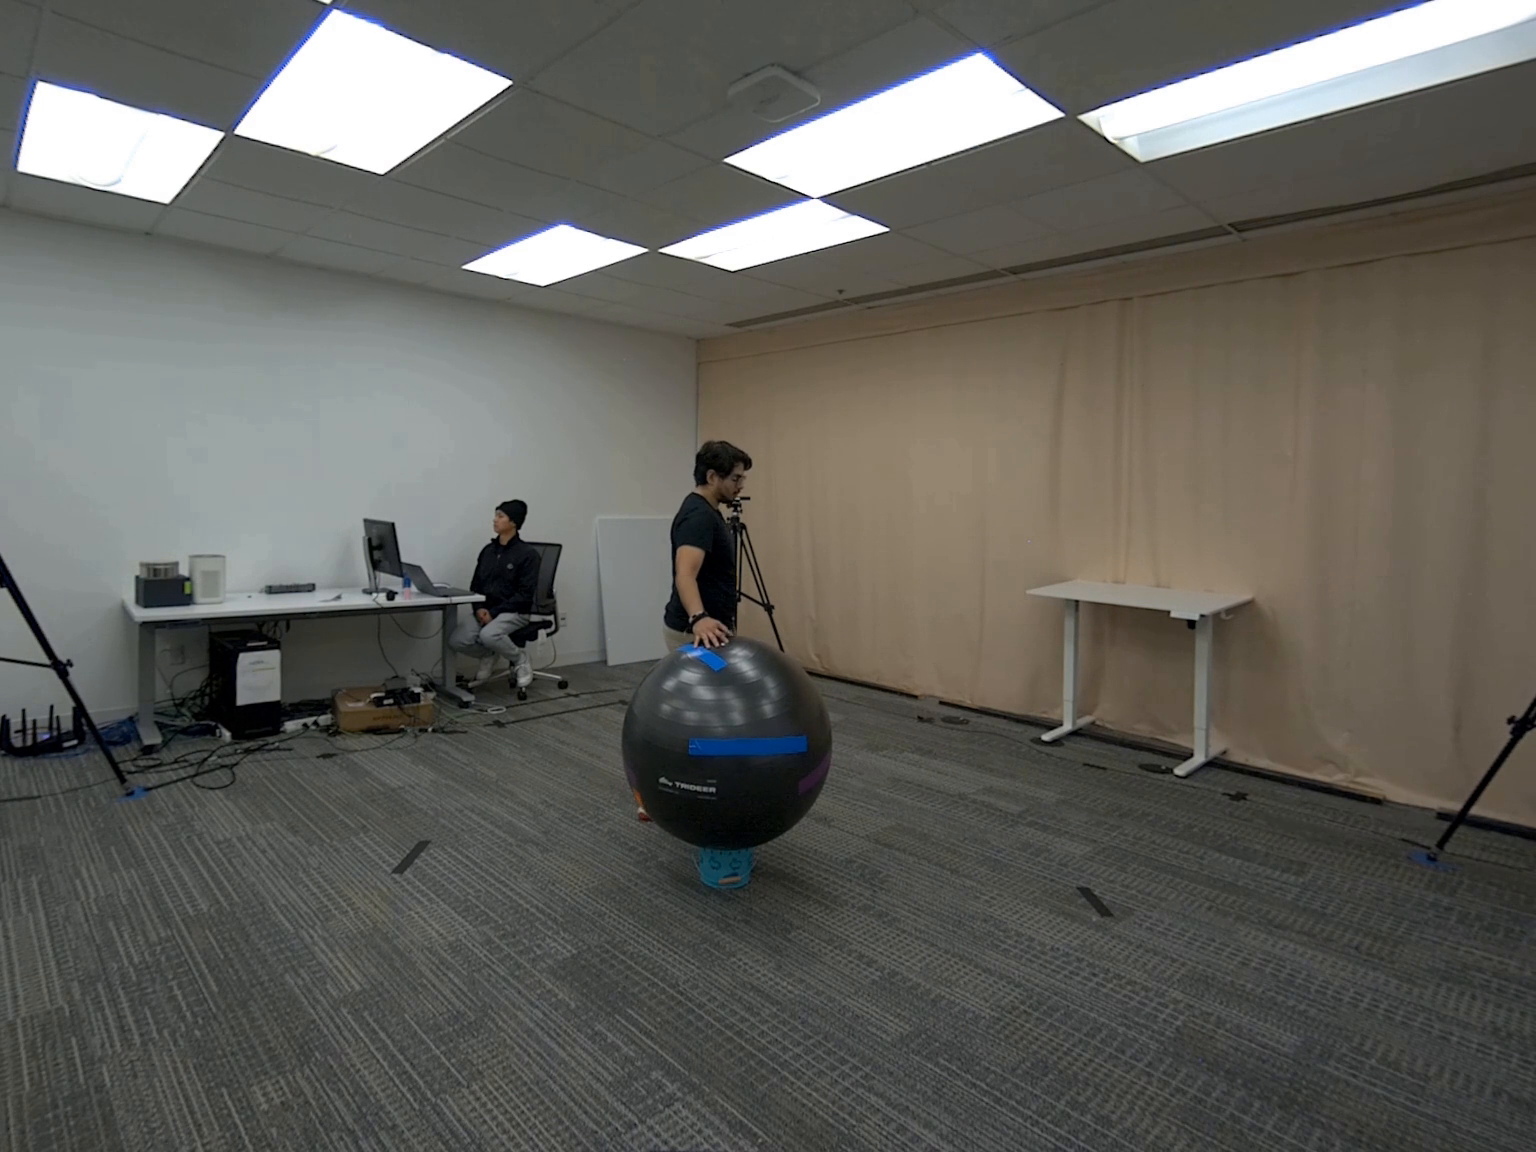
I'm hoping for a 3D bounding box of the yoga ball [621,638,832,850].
[{"bbox_3d":[-0.150,0.605,3.051,0.757,0.756,0.760,1,4,-1],"label":"yoga ball"}]
